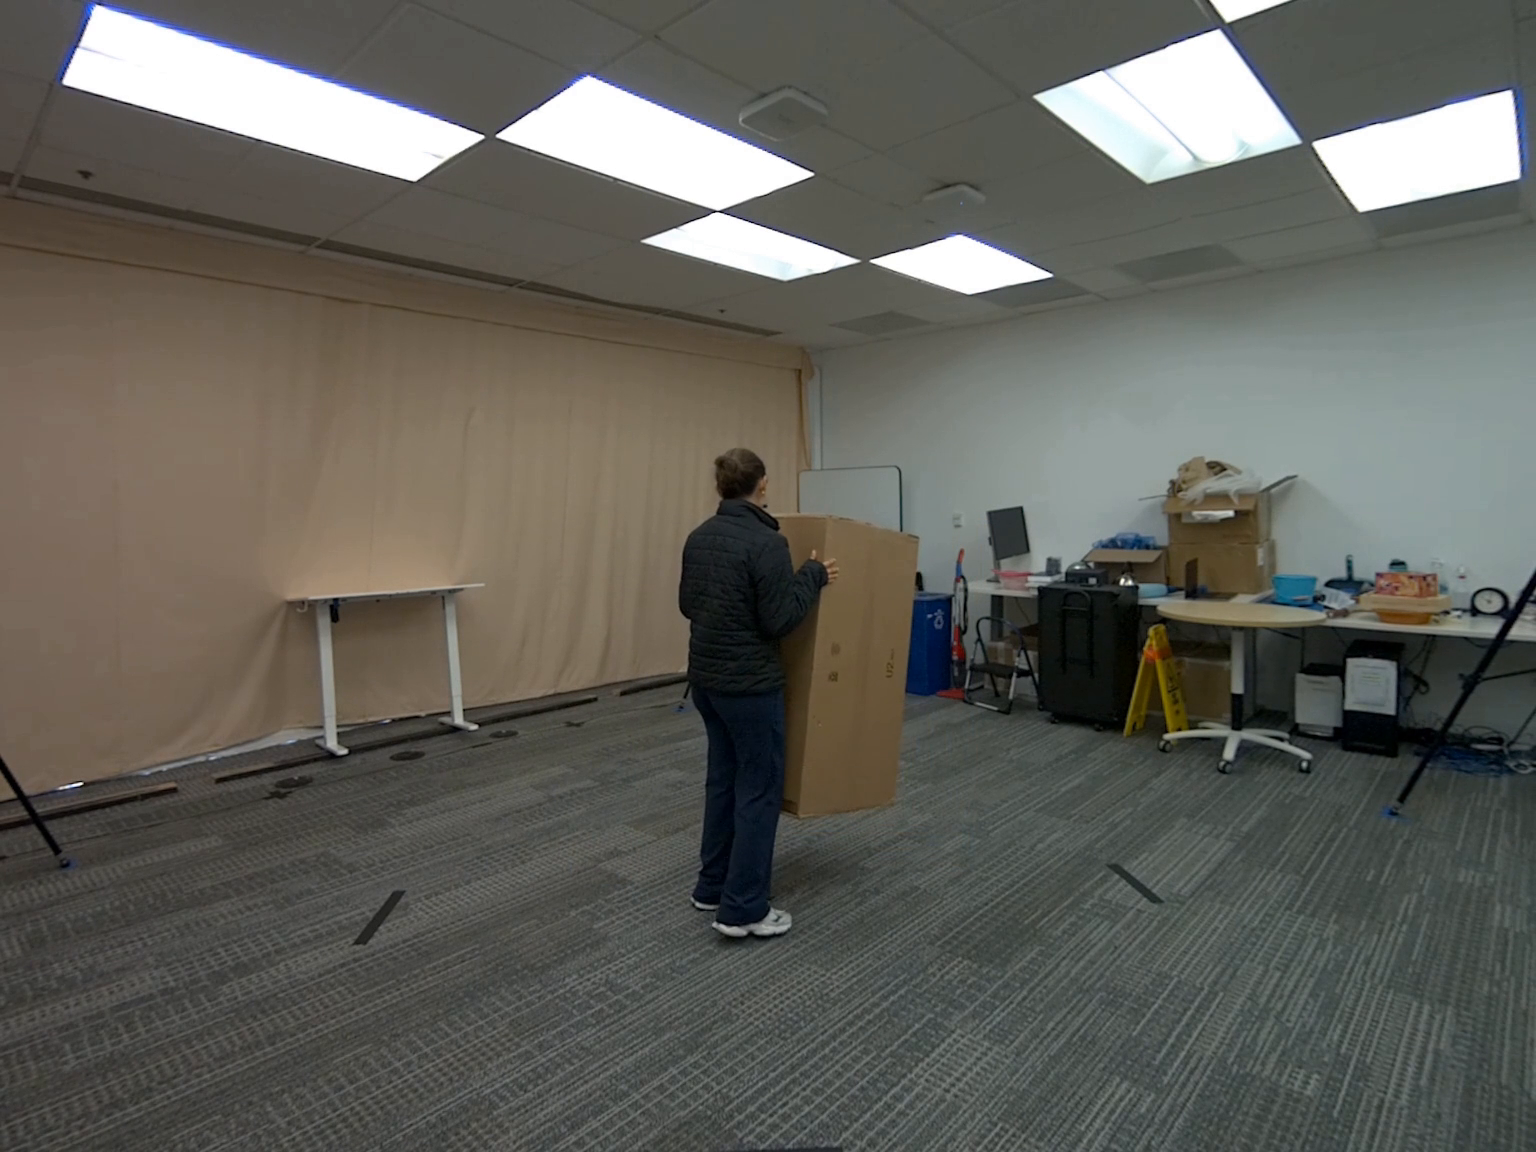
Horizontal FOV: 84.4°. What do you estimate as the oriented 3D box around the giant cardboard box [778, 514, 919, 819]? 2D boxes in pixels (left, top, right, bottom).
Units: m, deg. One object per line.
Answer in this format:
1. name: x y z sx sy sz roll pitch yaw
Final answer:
1. giant cardboard box: 0.210 0.320 3.161 0.440 1.027 0.558 3 -4 45
